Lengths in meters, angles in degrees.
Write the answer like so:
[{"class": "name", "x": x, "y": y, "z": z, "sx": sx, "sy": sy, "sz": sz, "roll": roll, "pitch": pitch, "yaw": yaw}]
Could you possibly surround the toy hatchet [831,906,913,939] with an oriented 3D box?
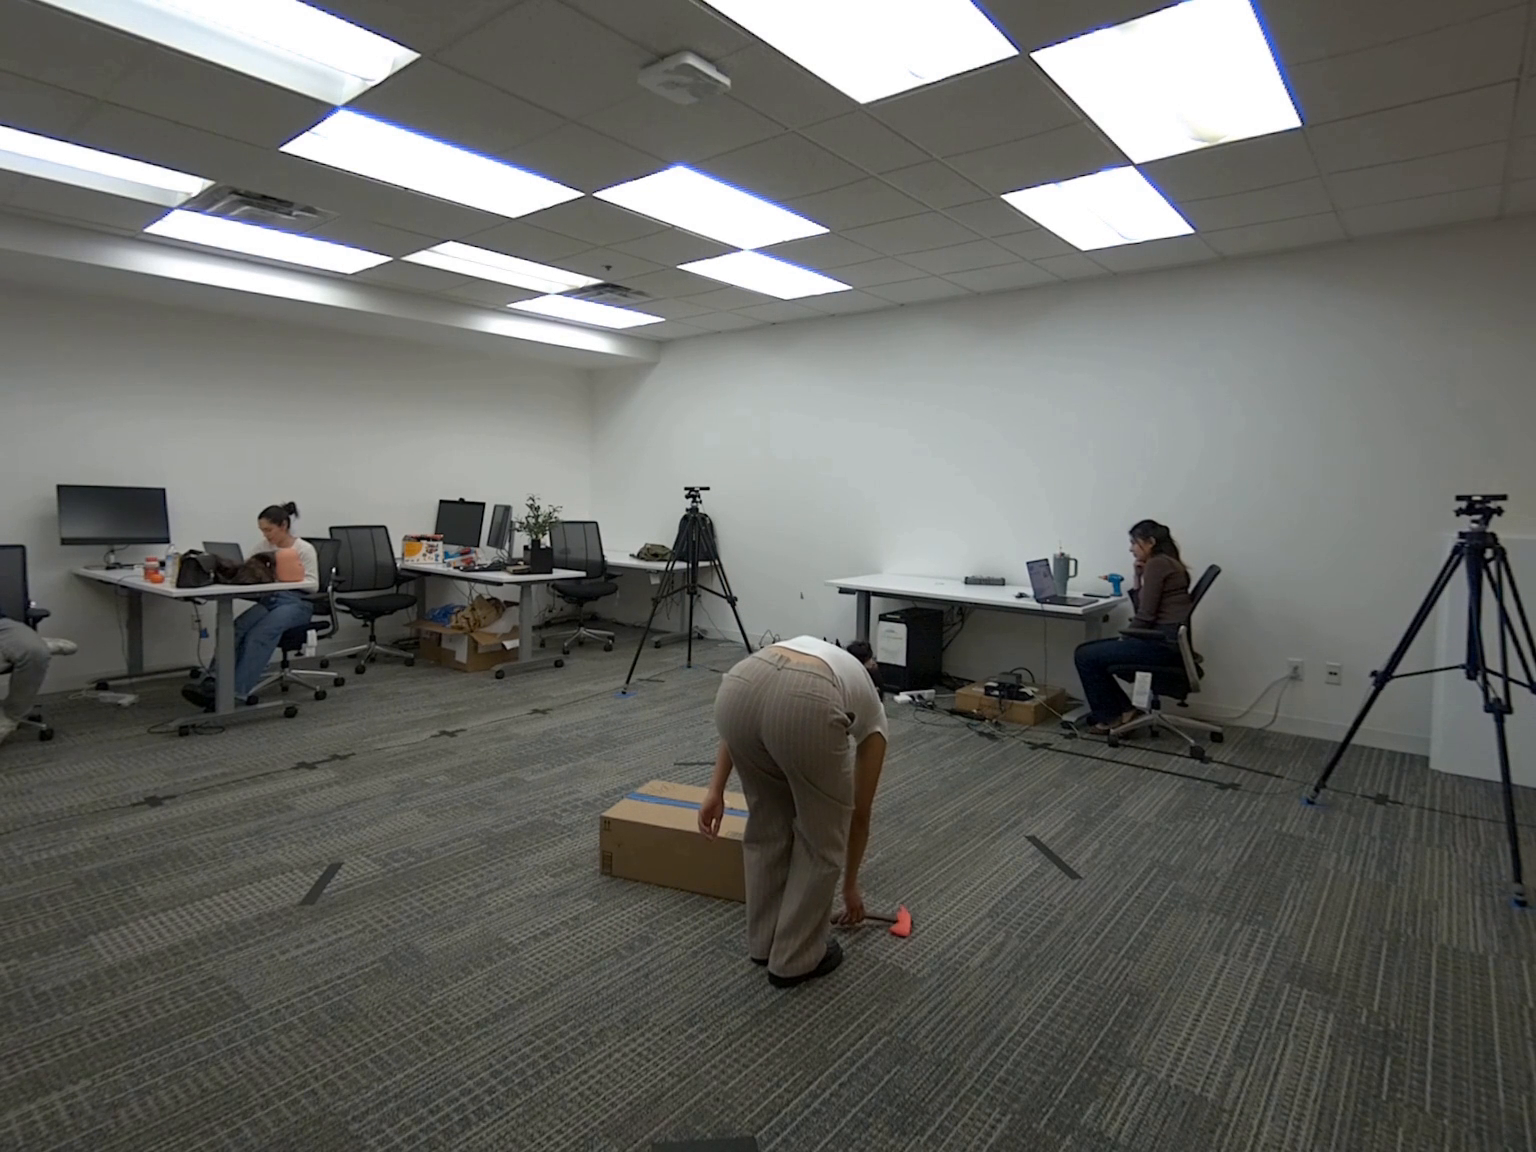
[{"class": "toy hatchet", "x": 0.331, "y": 1.096, "z": 2.691, "sx": 0.266, "sy": 0.029, "sz": 0.135, "roll": -3, "pitch": 20, "yaw": -13}]
